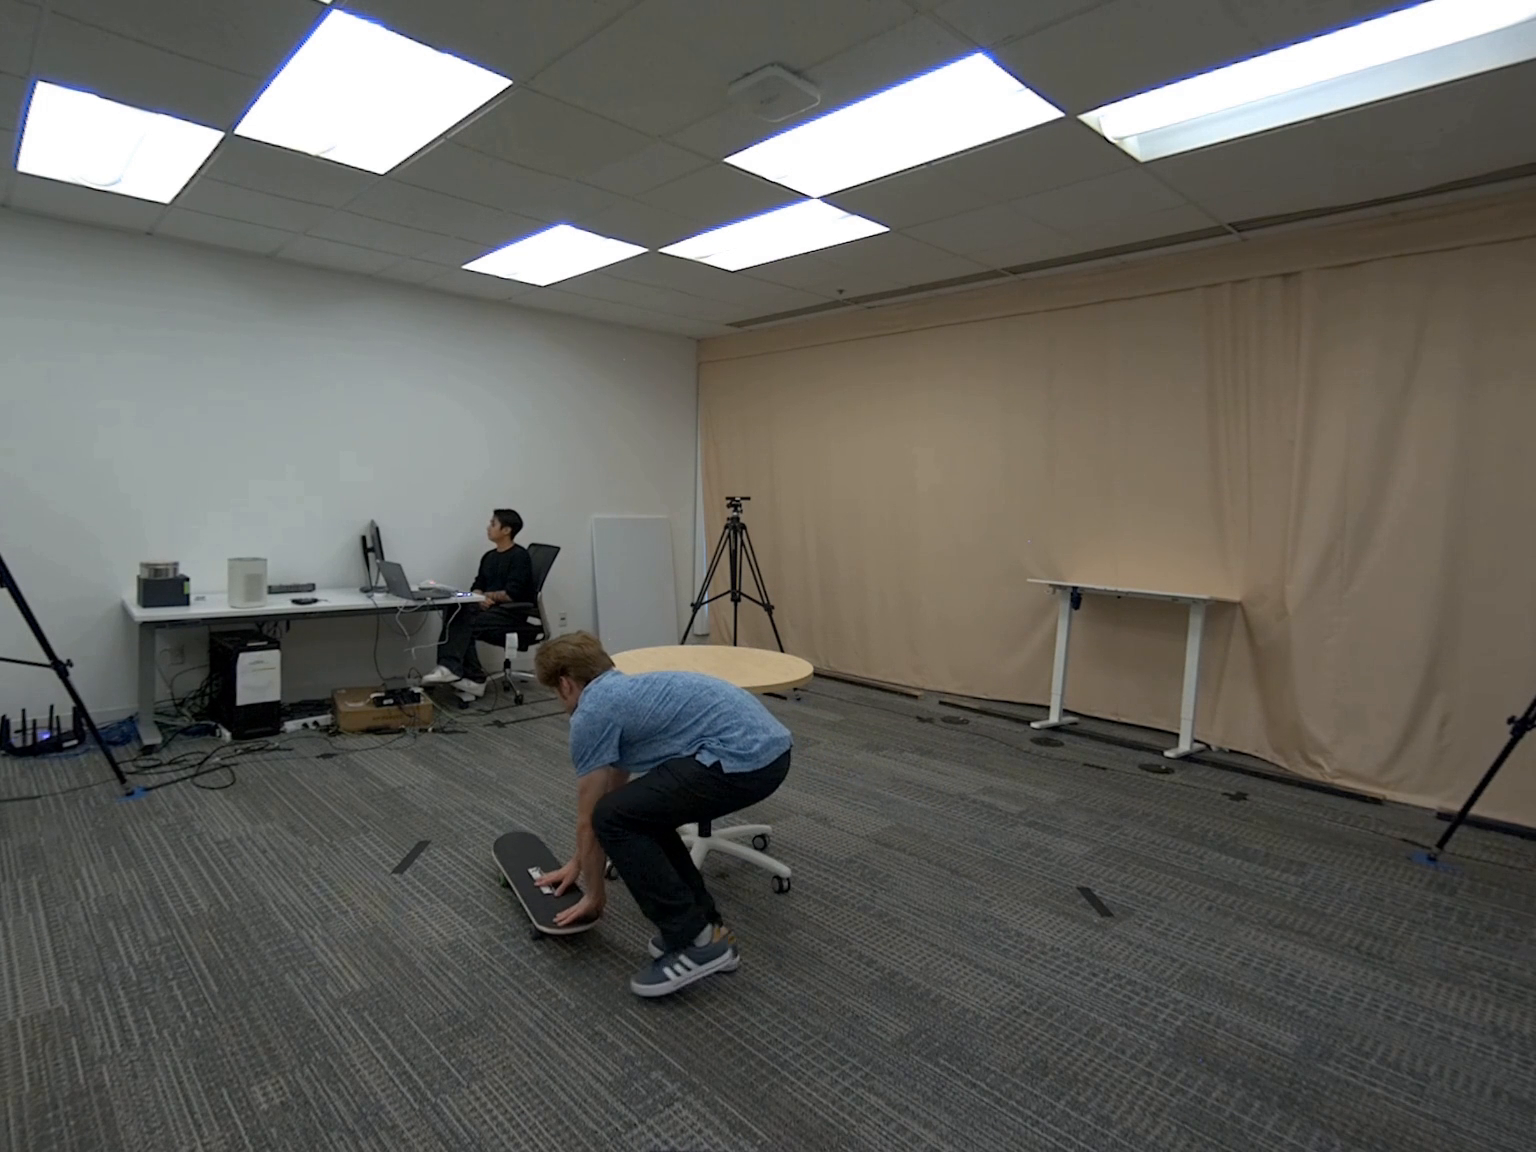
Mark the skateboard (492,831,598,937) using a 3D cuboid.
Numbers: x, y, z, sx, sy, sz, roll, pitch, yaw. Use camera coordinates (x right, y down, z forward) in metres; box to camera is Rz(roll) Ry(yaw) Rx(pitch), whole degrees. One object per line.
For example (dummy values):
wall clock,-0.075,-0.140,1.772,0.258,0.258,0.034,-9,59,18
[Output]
skateboard,-0.770,1.062,2.849,0.190,0.110,0.804,-3,7,-29
